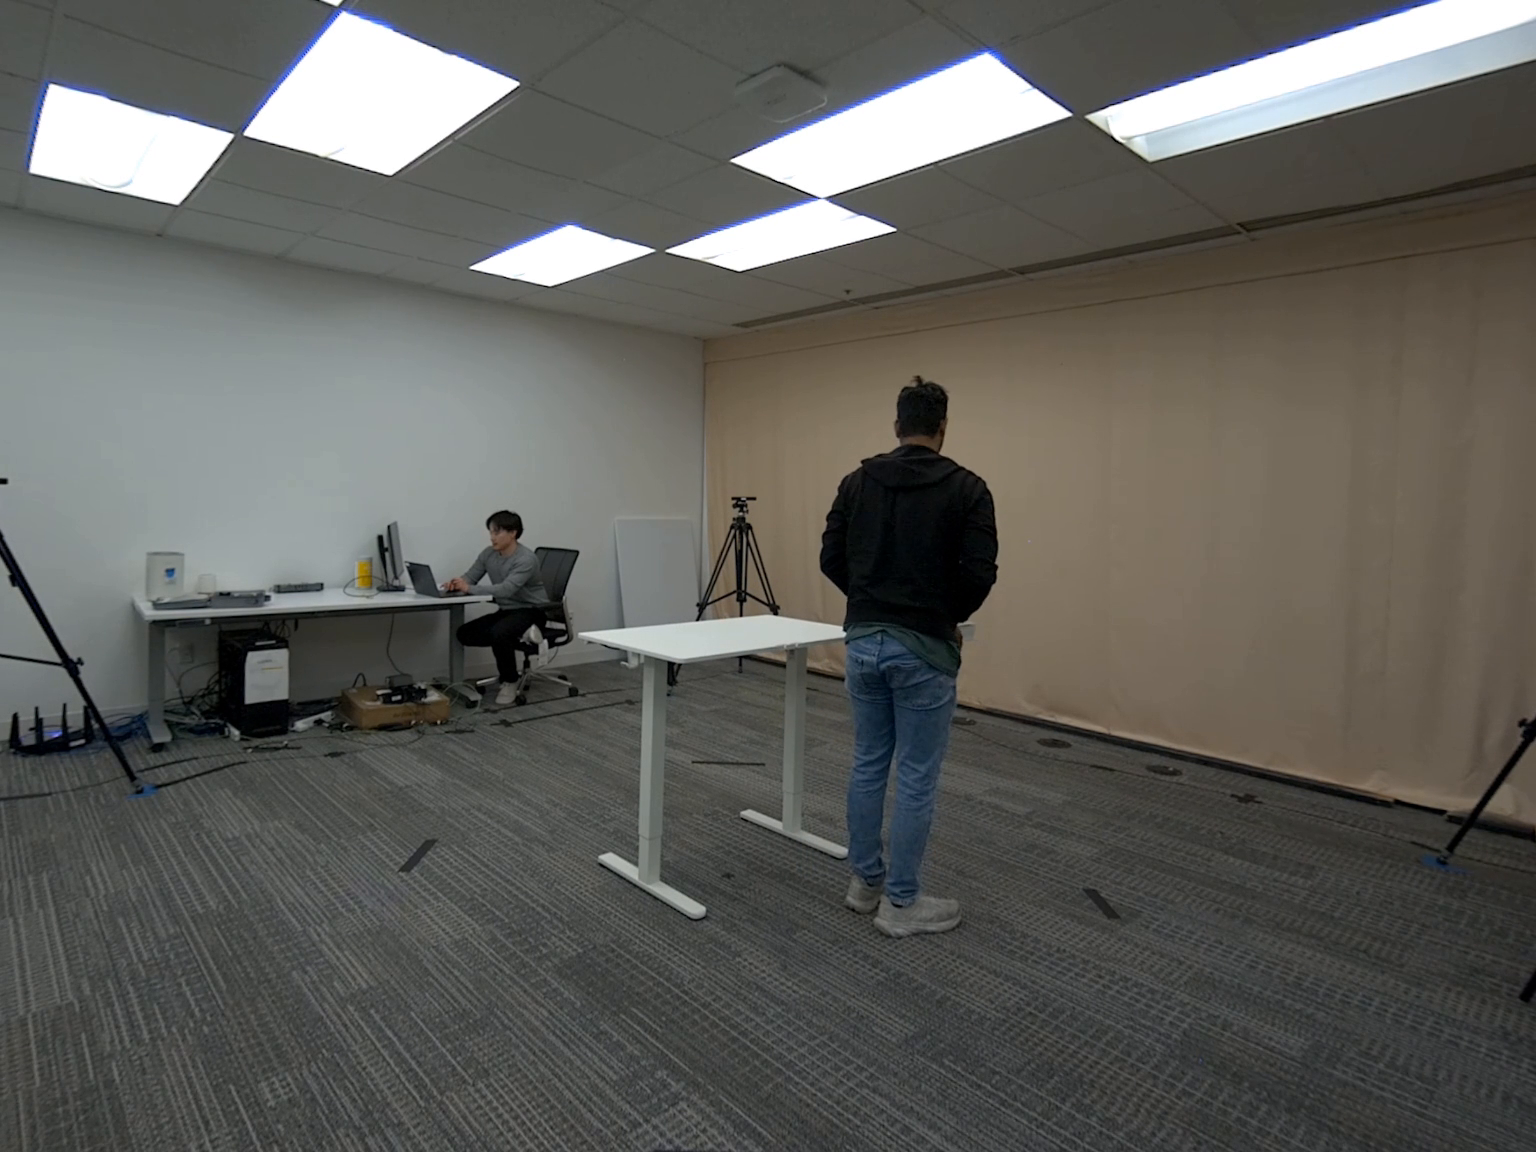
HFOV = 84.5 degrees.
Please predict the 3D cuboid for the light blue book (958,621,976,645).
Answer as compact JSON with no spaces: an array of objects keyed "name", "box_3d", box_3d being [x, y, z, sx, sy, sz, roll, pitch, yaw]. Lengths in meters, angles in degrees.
[{"name":"light blue book","box_3d":[0.603,0.201,3.004,0.196,0.059,0.255,6,4,34]}]
